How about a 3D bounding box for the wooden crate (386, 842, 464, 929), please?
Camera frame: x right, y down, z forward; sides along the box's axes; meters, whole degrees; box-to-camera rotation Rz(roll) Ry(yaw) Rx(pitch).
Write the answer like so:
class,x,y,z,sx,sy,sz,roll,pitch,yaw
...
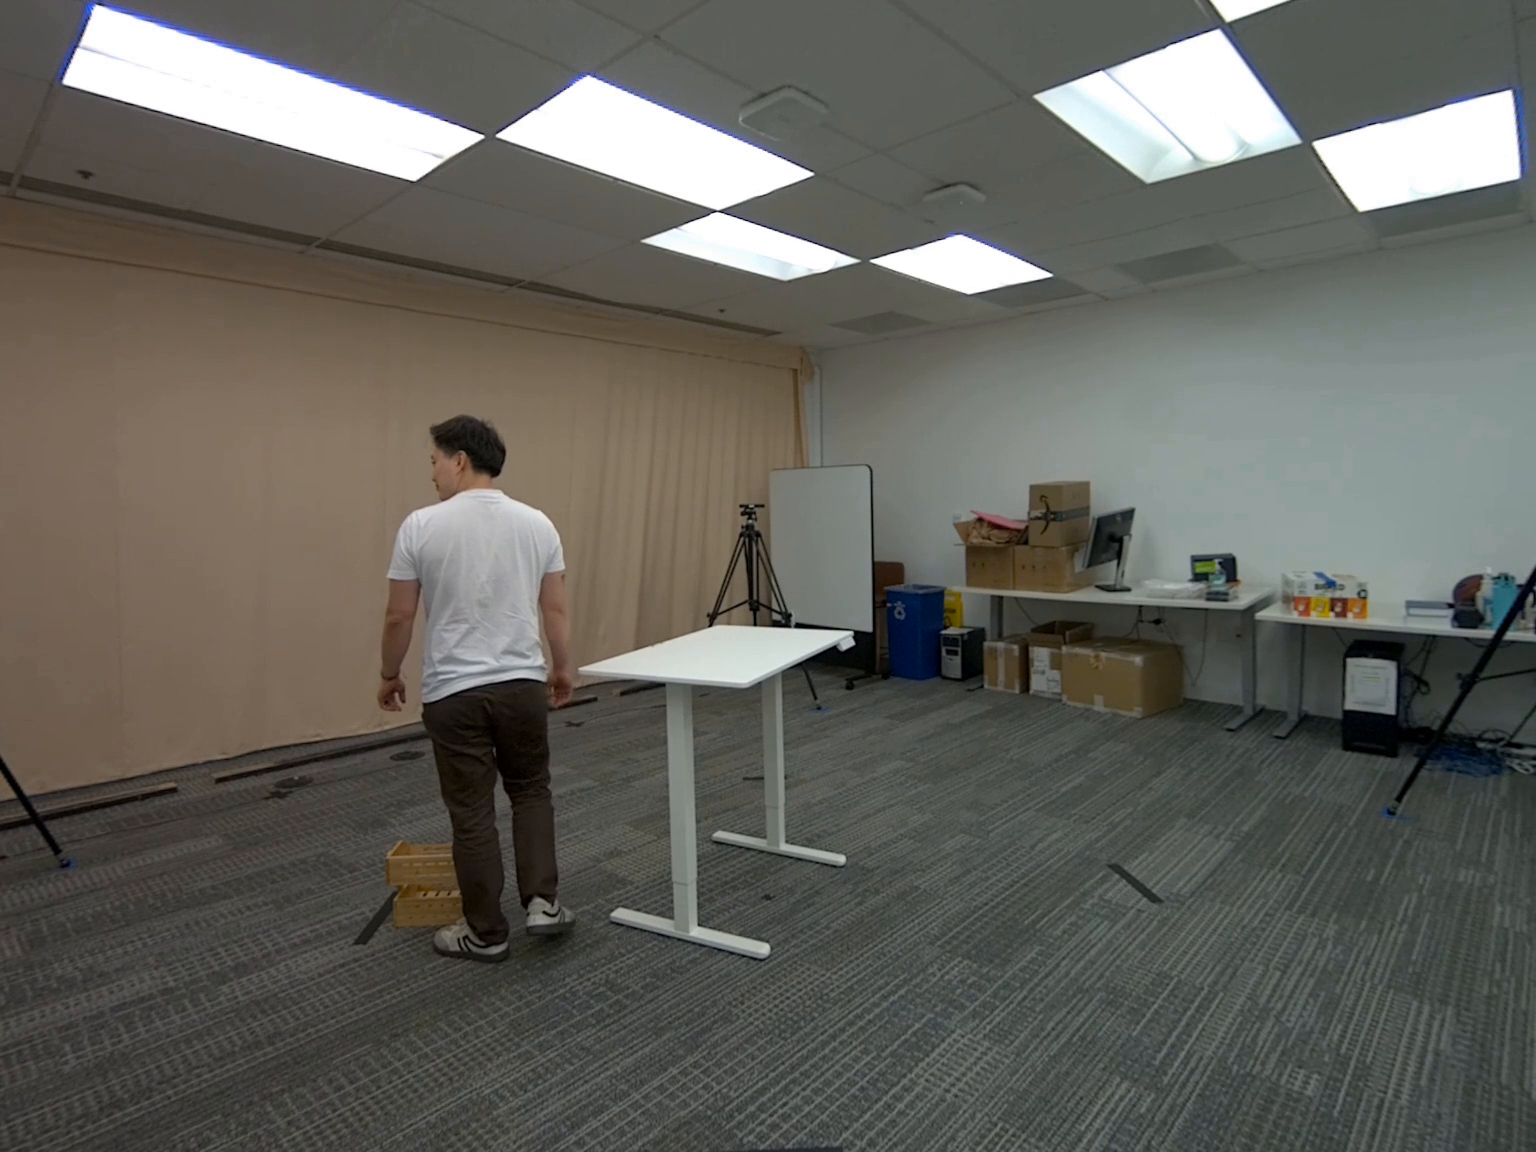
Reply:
class,x,y,z,sx,sy,sz,roll,pitch,yaw
wooden crate,-1.139,1.042,2.934,0.323,0.273,0.304,-1,4,-6
